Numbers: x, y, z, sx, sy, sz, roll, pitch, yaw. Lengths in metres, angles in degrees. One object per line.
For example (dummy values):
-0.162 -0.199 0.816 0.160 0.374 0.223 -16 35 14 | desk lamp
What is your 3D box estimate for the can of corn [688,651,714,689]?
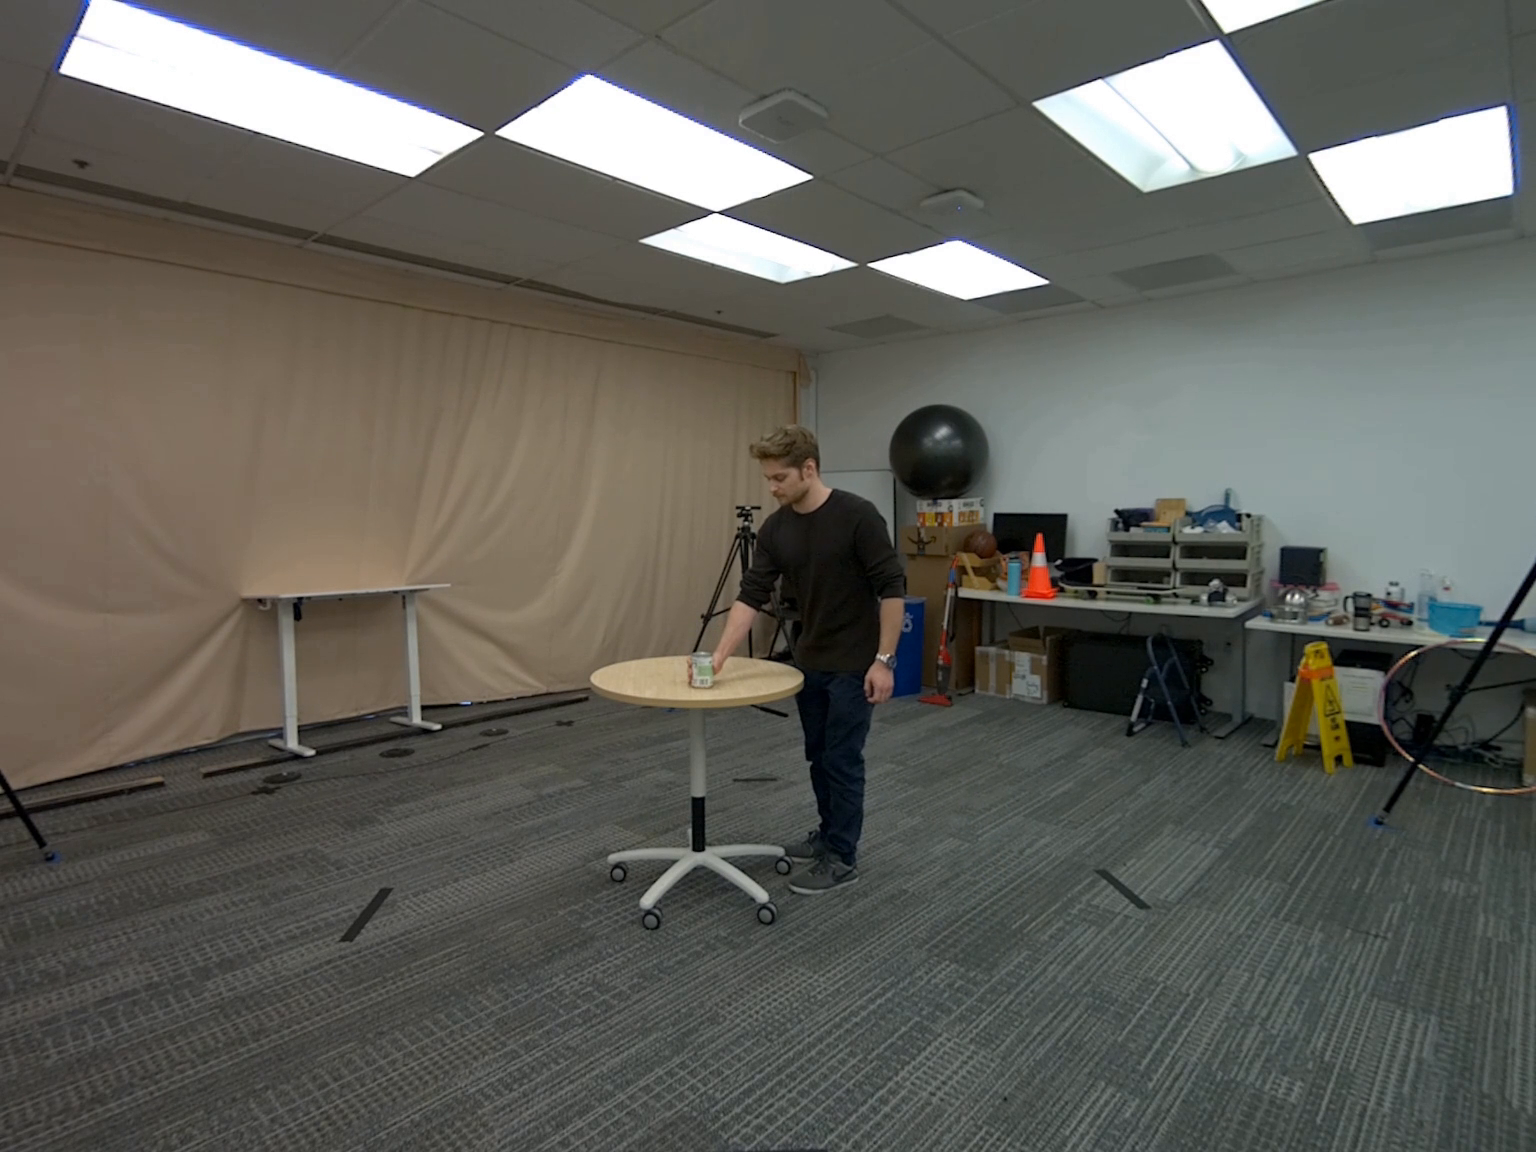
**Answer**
-0.217 0.324 2.852 0.074 0.111 0.074 1 2 -2 | can of corn
